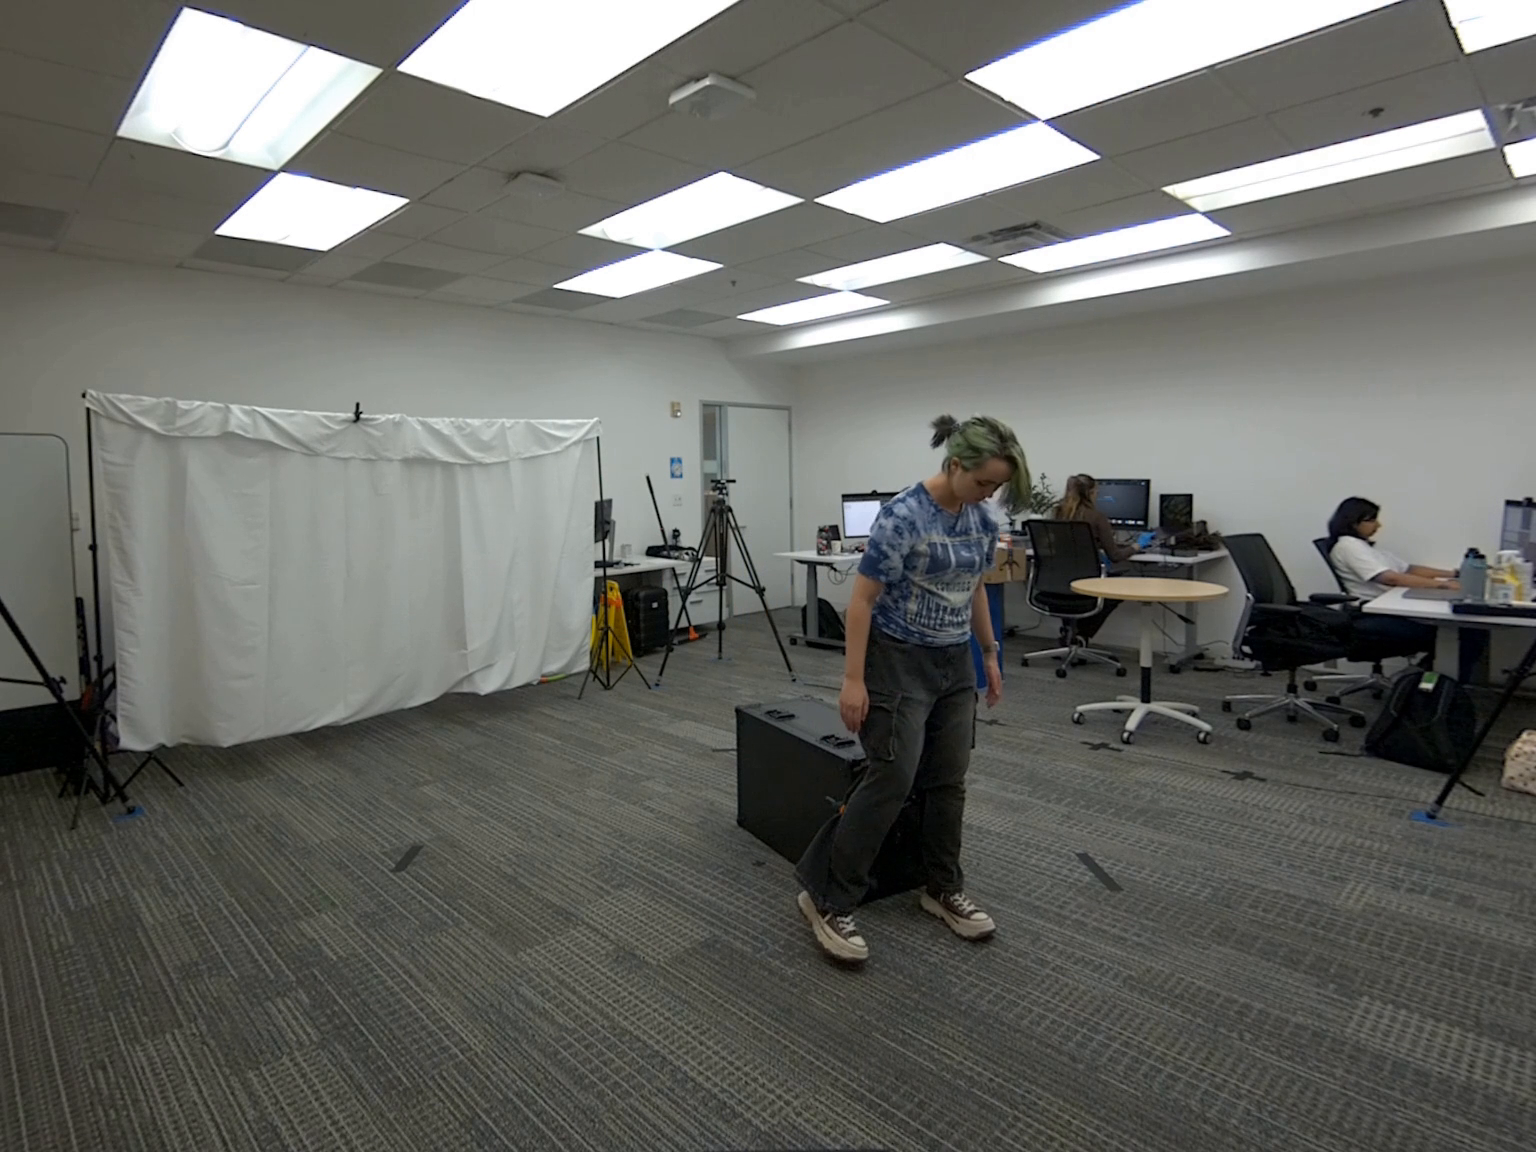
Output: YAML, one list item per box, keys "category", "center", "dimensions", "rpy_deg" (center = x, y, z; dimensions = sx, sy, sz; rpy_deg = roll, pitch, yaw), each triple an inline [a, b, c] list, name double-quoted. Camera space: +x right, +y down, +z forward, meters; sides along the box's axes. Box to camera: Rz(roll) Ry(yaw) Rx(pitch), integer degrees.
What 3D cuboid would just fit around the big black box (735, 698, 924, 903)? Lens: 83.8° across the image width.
- category: "big black box"
  center: [0.244, 0.794, 3.165]
  dimensions: [0.387, 0.519, 0.885]
  rpy_deg: [-3, 6, -28]
